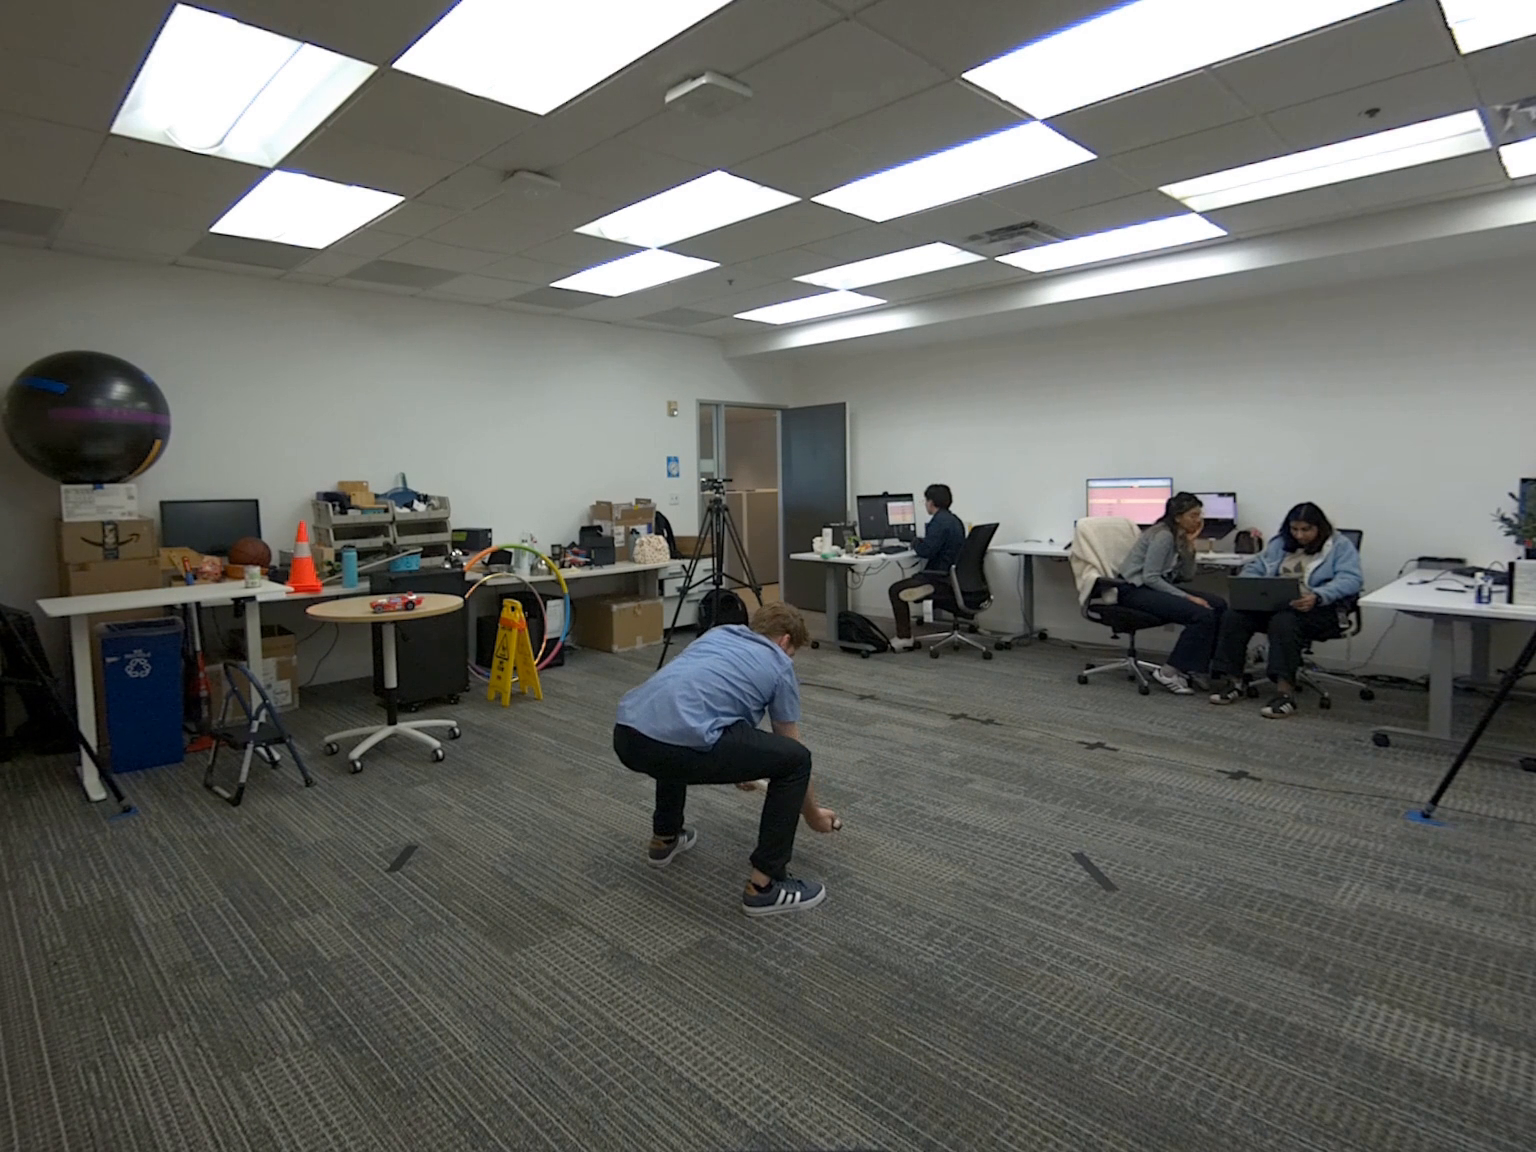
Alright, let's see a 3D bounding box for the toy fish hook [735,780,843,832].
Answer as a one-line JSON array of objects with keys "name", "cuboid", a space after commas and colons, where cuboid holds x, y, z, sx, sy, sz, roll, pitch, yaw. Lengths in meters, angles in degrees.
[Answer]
[{"name": "toy fish hook", "cuboid": [0.113, 0.882, 3.268, 0.524, 0.048, 0.216, 15, -19, 46]}]
